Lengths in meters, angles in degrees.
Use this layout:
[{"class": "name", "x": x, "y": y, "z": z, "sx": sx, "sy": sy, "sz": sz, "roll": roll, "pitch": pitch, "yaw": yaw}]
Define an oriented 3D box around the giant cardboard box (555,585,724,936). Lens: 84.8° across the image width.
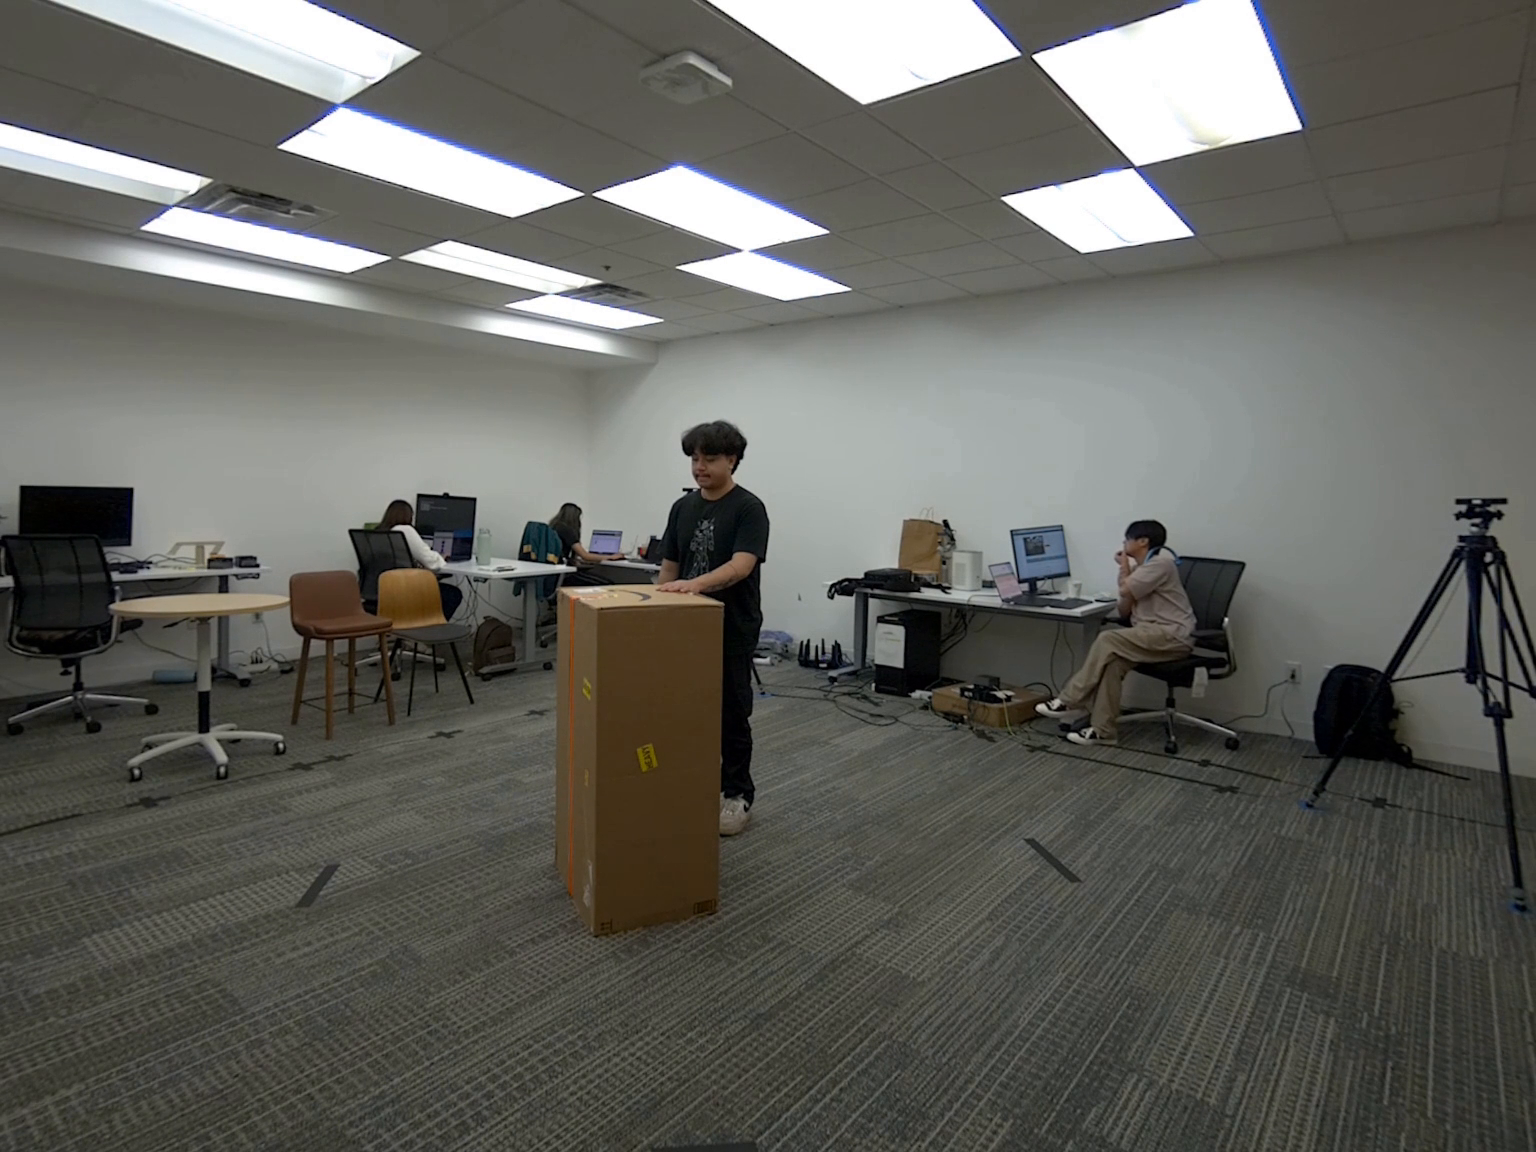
[{"class": "giant cardboard box", "x": -0.478, "y": 0.569, "z": 2.940, "sx": 0.436, "sy": 1.024, "sz": 0.599, "roll": -1, "pitch": 4, "yaw": -25}]
